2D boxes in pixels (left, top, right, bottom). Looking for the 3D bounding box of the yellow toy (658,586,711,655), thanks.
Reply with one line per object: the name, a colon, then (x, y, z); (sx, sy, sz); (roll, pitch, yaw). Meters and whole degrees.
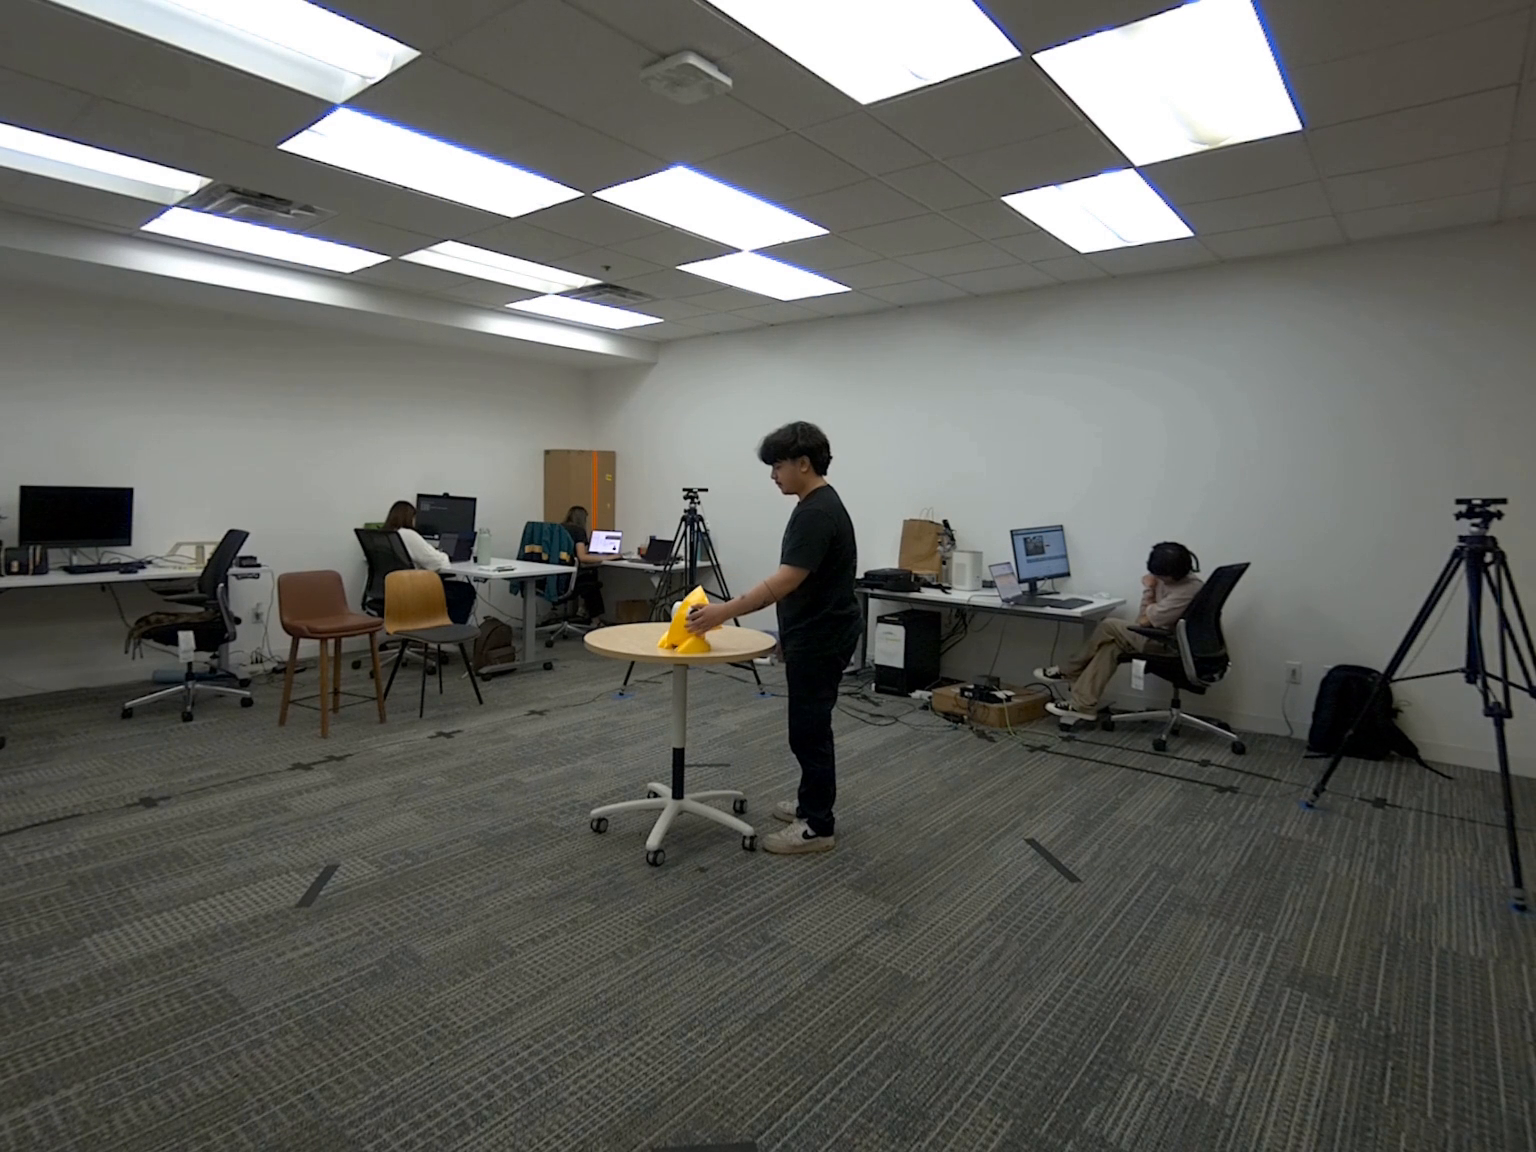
yellow toy: (-0.313, 0.154, 3.214); (0.187, 0.229, 0.212); (-5, 8, -43)
